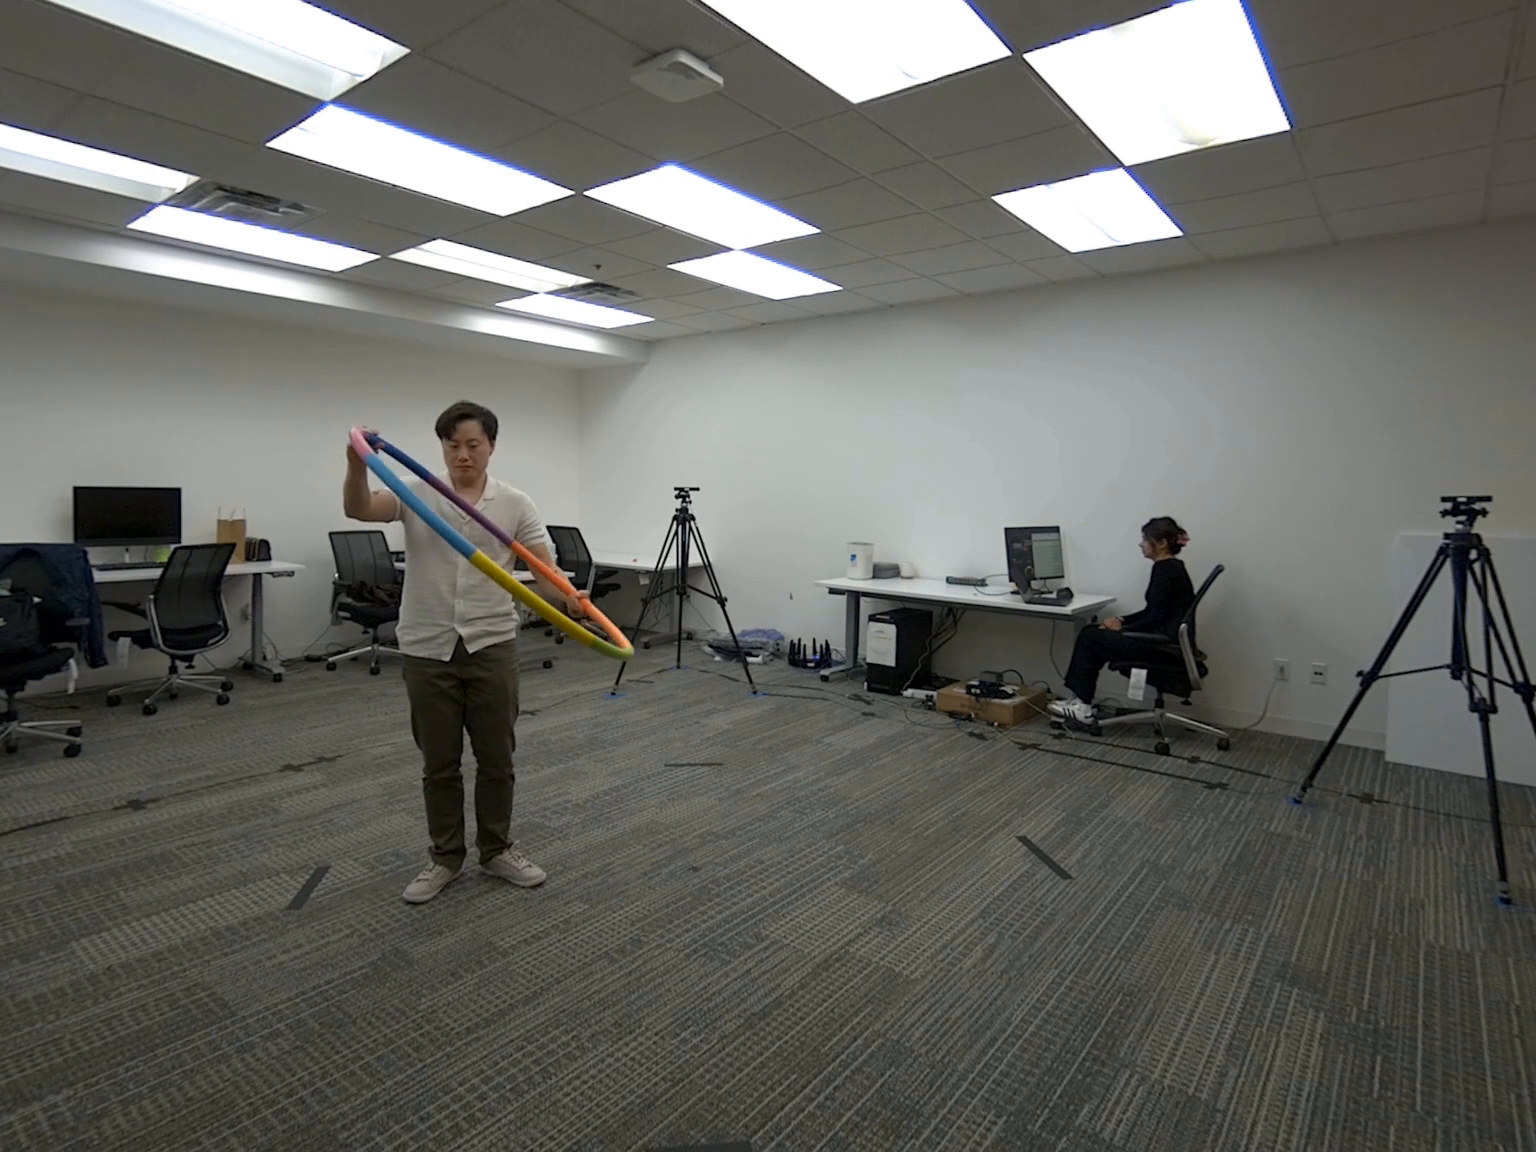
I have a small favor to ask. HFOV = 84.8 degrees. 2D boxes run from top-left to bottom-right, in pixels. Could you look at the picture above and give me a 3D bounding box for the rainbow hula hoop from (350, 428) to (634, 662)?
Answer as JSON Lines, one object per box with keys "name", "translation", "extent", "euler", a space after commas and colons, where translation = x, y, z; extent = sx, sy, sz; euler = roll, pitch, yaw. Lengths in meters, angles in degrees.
{"name": "rainbow hula hoop", "translation": [-0.761, -0.085, 2.406], "extent": [0.982, 0.035, 0.976], "euler": [40, -4, 1]}
